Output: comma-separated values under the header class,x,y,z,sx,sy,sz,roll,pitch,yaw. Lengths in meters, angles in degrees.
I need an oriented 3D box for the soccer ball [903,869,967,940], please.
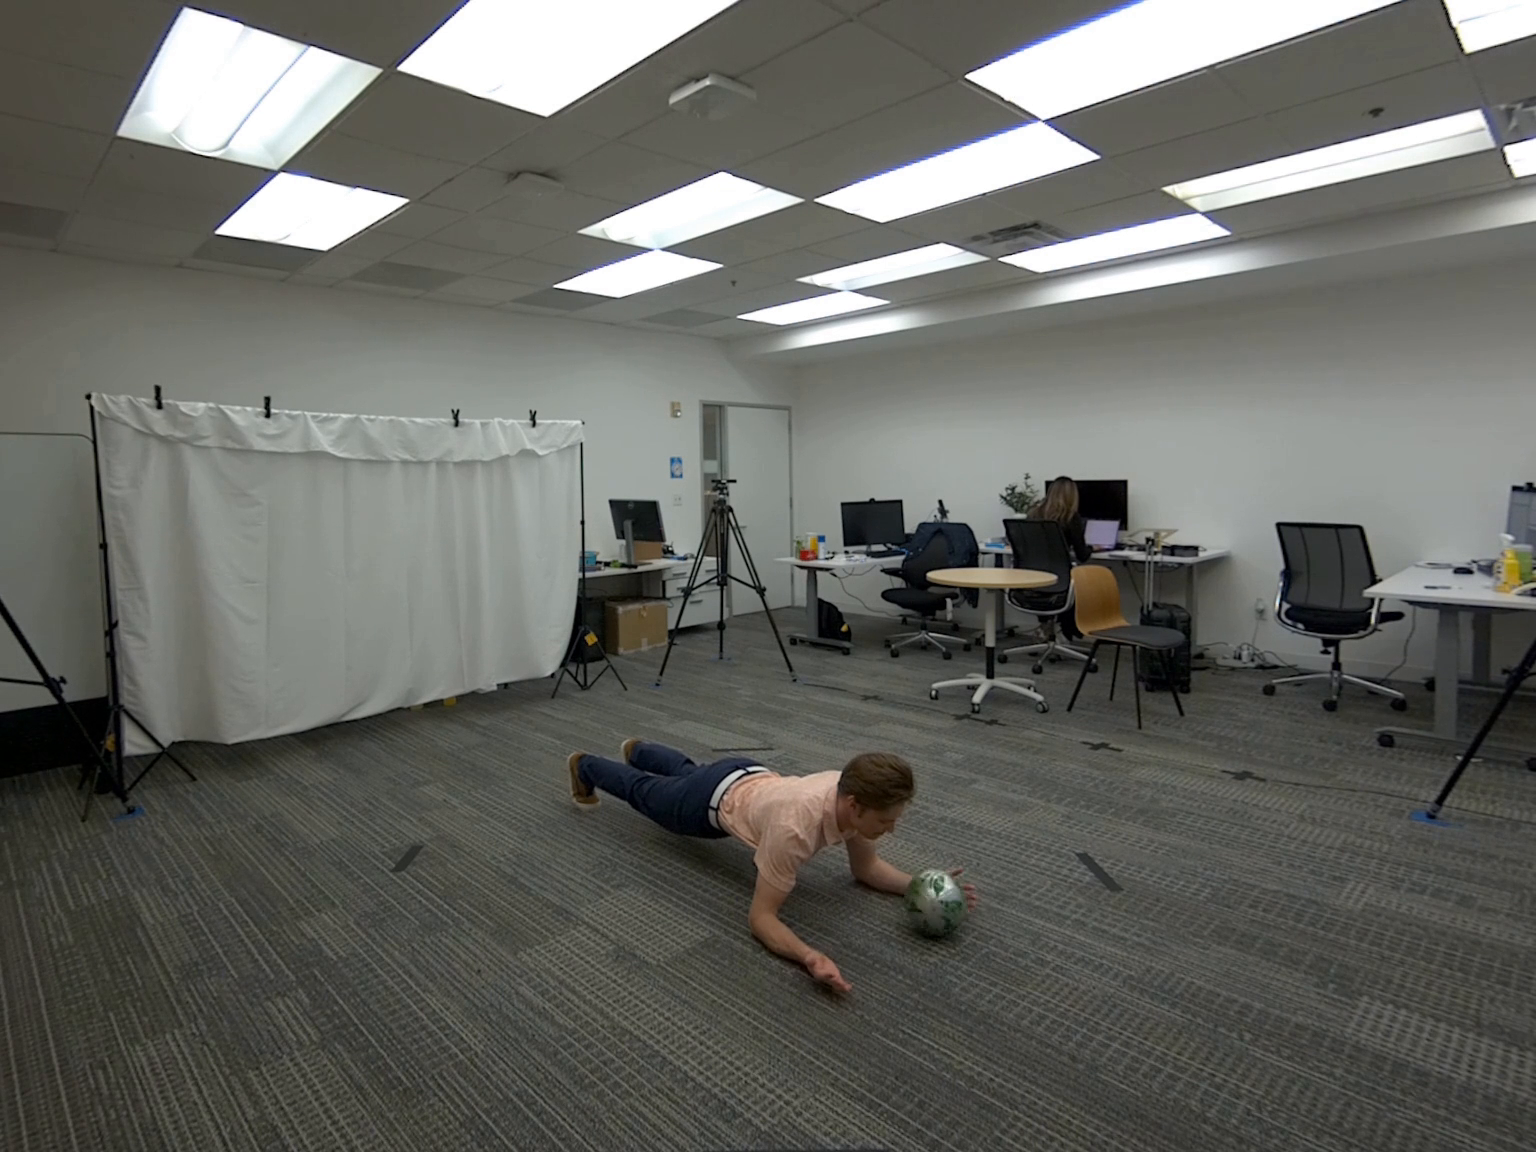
class,x,y,z,sx,sy,sz,roll,pitch,yaw
soccer ball,0.504,0.996,2.605,0.187,0.187,0.188,-1,5,-2
